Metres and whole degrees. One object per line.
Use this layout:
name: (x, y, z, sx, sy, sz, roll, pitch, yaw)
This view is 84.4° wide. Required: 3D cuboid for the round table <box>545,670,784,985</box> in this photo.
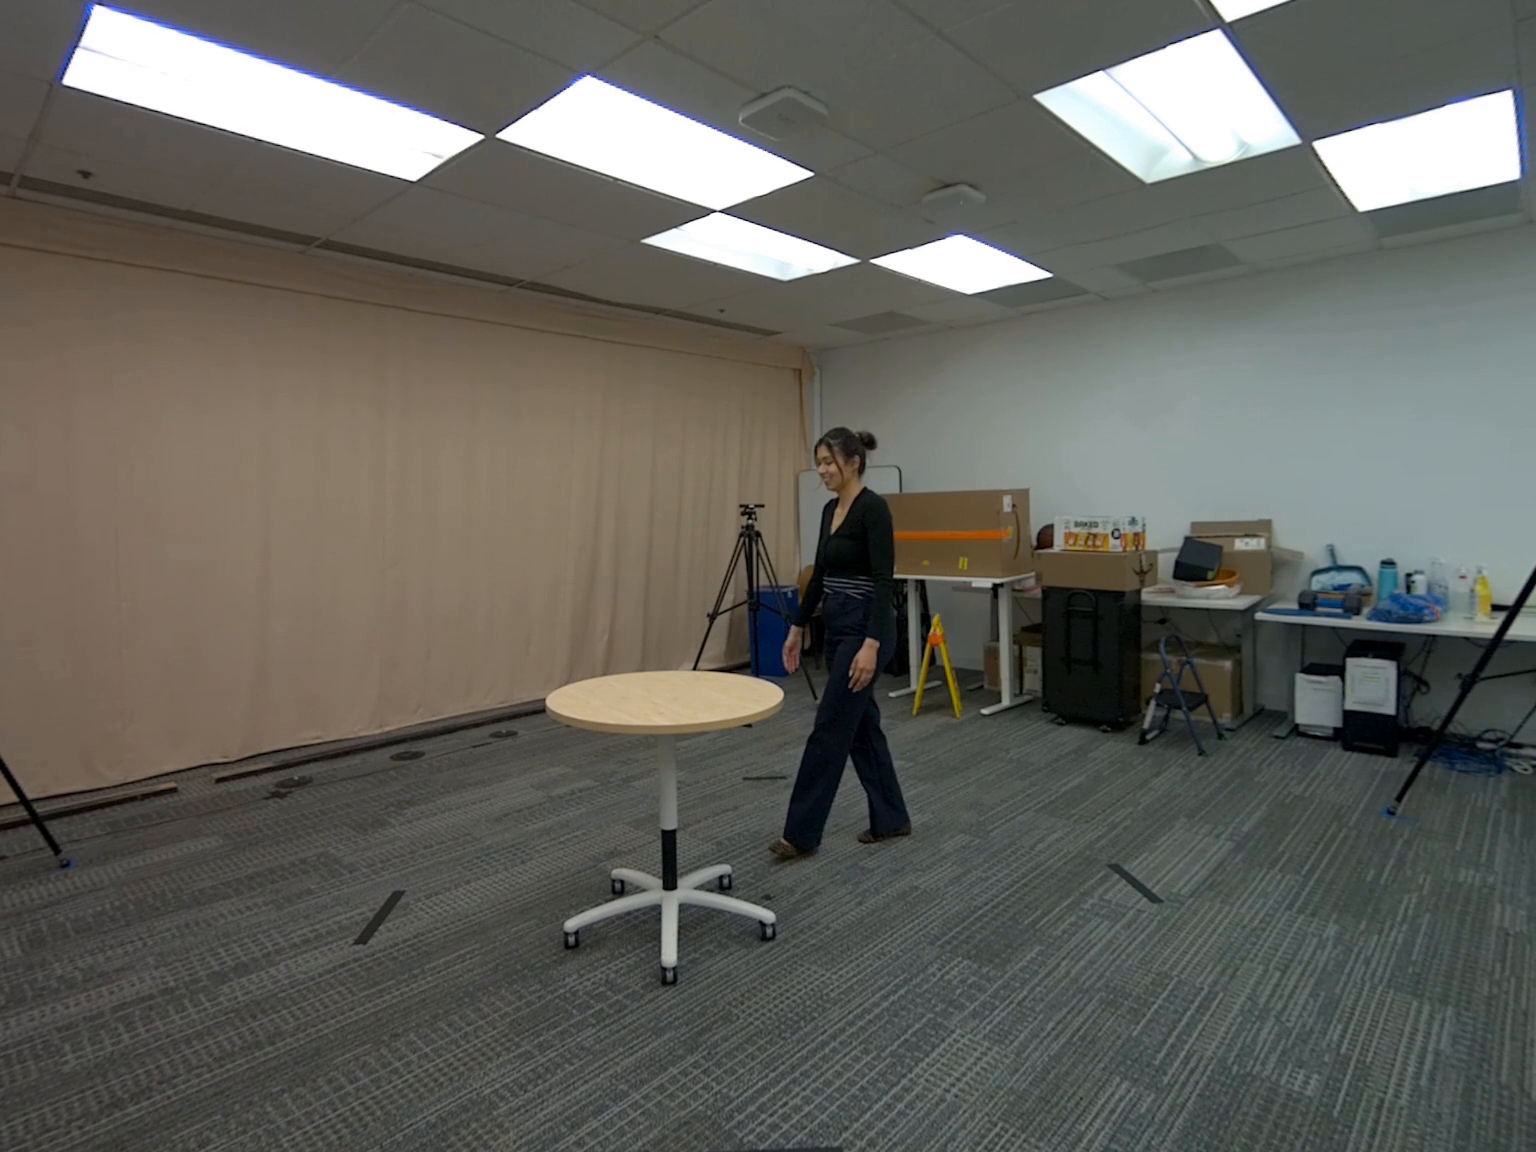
round table: (-0.321, 0.778, 2.748, 0.763, 0.792, 0.767, -1, 4, -2)
